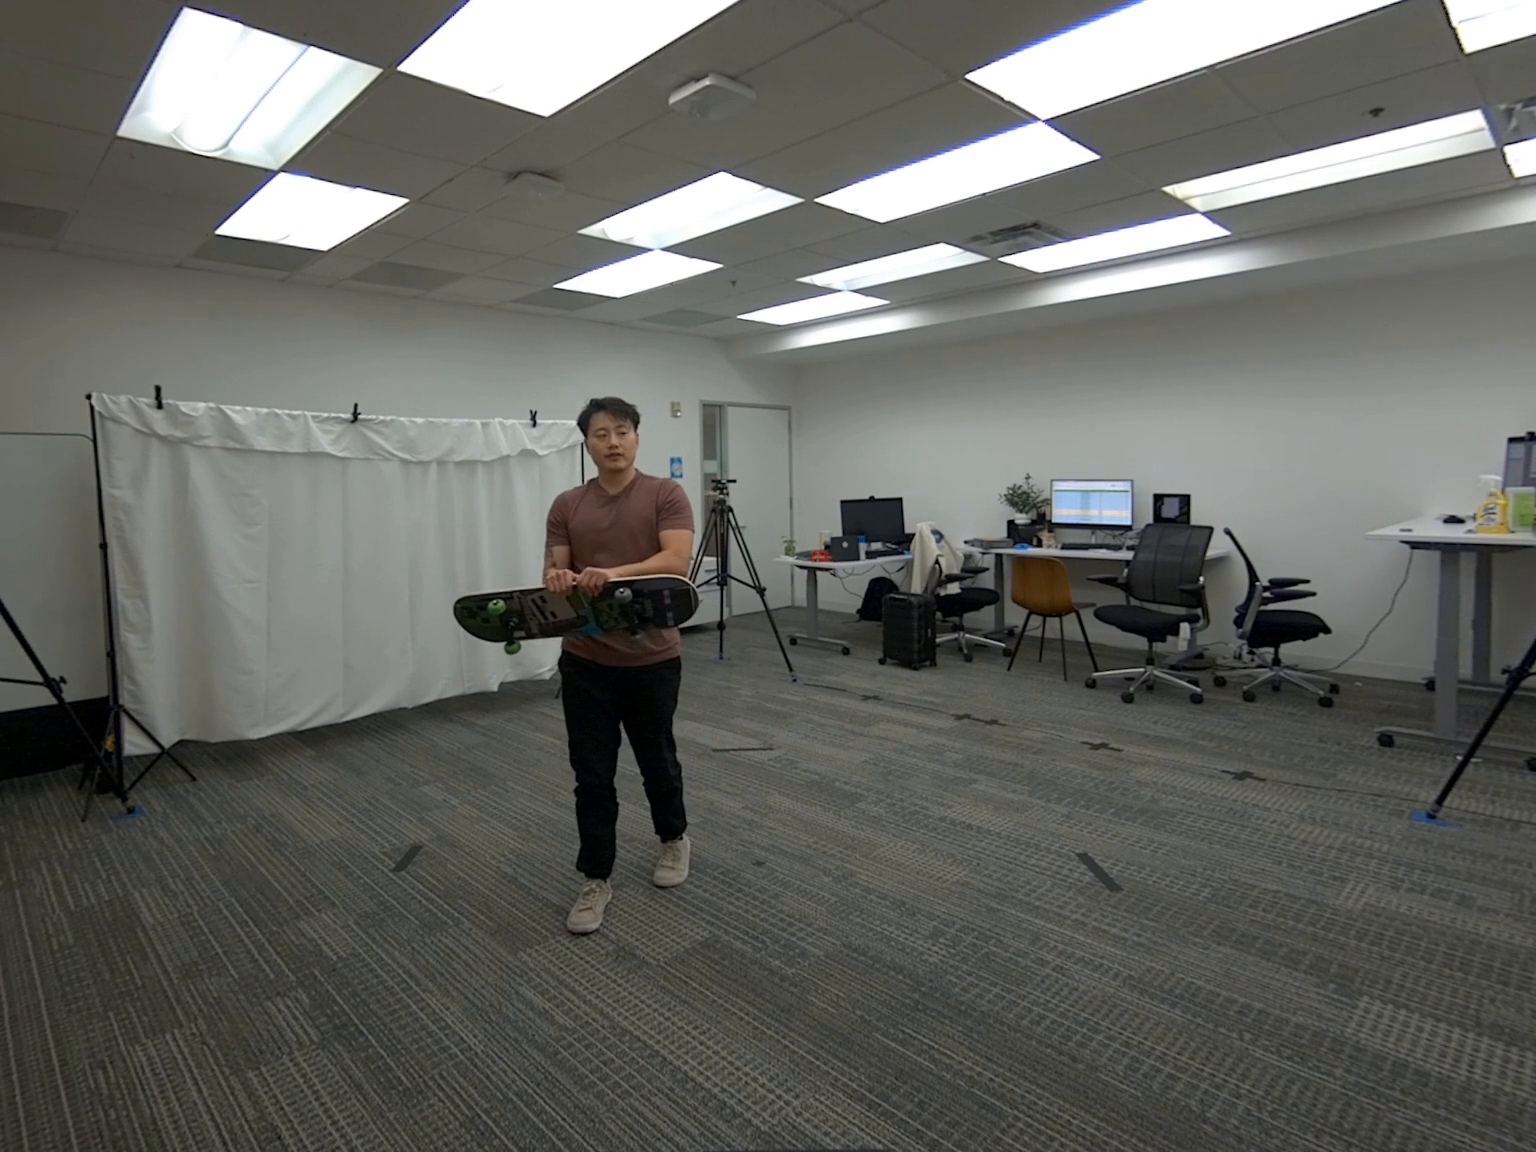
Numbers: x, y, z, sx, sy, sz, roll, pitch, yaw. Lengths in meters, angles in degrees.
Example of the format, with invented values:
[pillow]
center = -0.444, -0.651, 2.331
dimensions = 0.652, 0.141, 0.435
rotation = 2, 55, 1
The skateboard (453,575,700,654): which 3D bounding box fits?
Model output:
[skateboard]
center = -0.597, 0.125, 2.562
dimensions = 0.794, 0.188, 0.112
rotation = -5, 30, 12
